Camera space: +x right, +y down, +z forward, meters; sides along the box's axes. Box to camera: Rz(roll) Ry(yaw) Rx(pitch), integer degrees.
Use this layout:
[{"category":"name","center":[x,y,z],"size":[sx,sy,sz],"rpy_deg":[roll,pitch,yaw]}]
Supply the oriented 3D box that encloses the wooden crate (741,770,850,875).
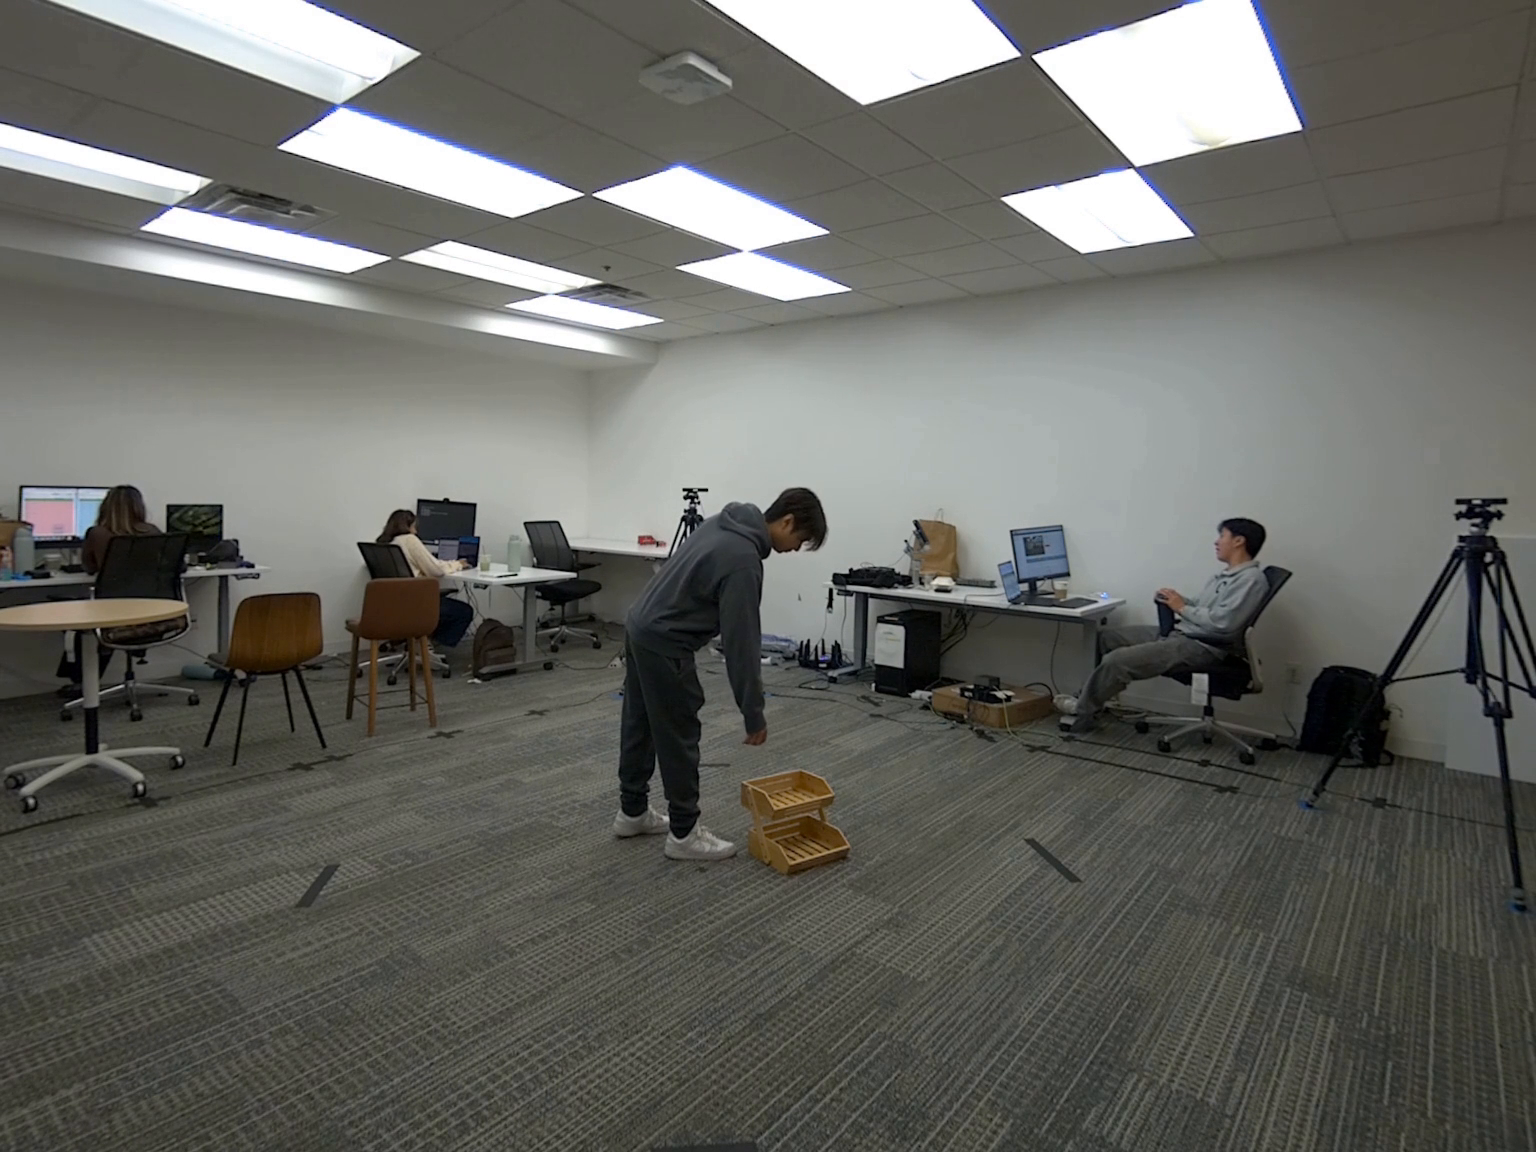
[{"category":"wooden crate","center":[0.096,0.930,3.256],"size":[0.315,0.272,0.312],"rpy_deg":[-2,5,-37]}]
